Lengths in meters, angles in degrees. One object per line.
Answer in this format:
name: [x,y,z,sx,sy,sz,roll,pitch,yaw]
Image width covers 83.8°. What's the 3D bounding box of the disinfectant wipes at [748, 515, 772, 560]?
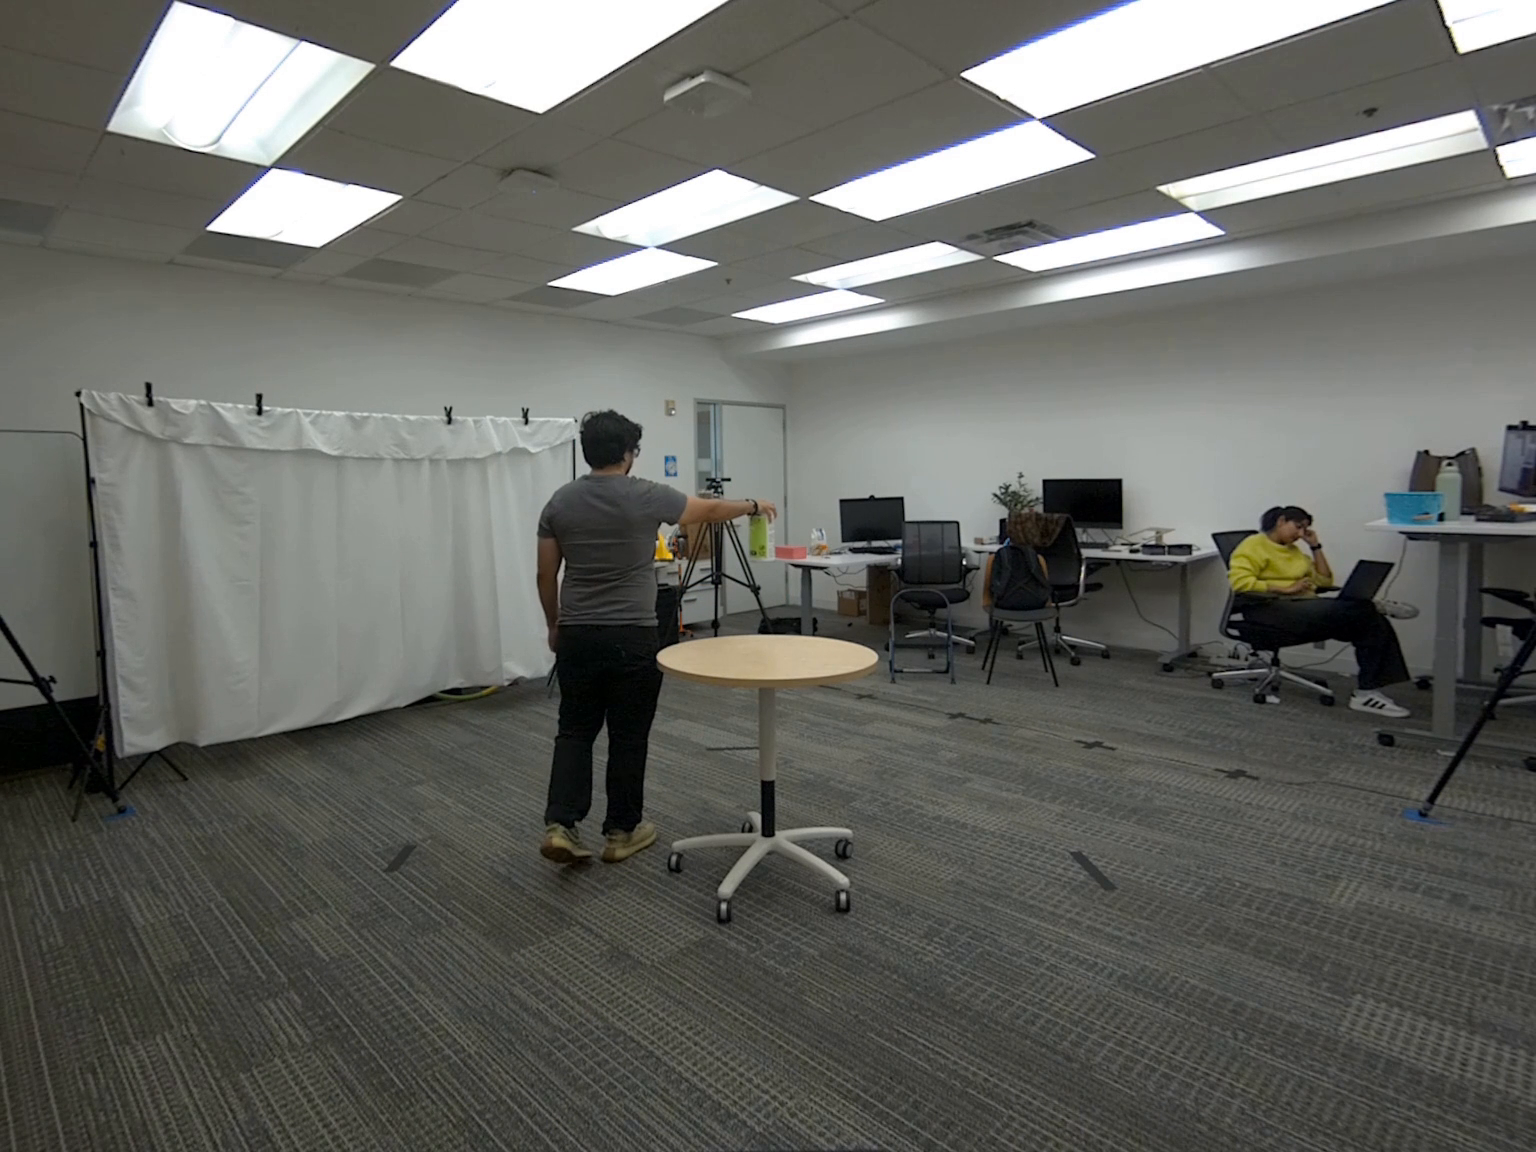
disinfectant wipes: [-0.026,-0.168,3.547,0.118,0.216,0.118,-1,5,-2]
